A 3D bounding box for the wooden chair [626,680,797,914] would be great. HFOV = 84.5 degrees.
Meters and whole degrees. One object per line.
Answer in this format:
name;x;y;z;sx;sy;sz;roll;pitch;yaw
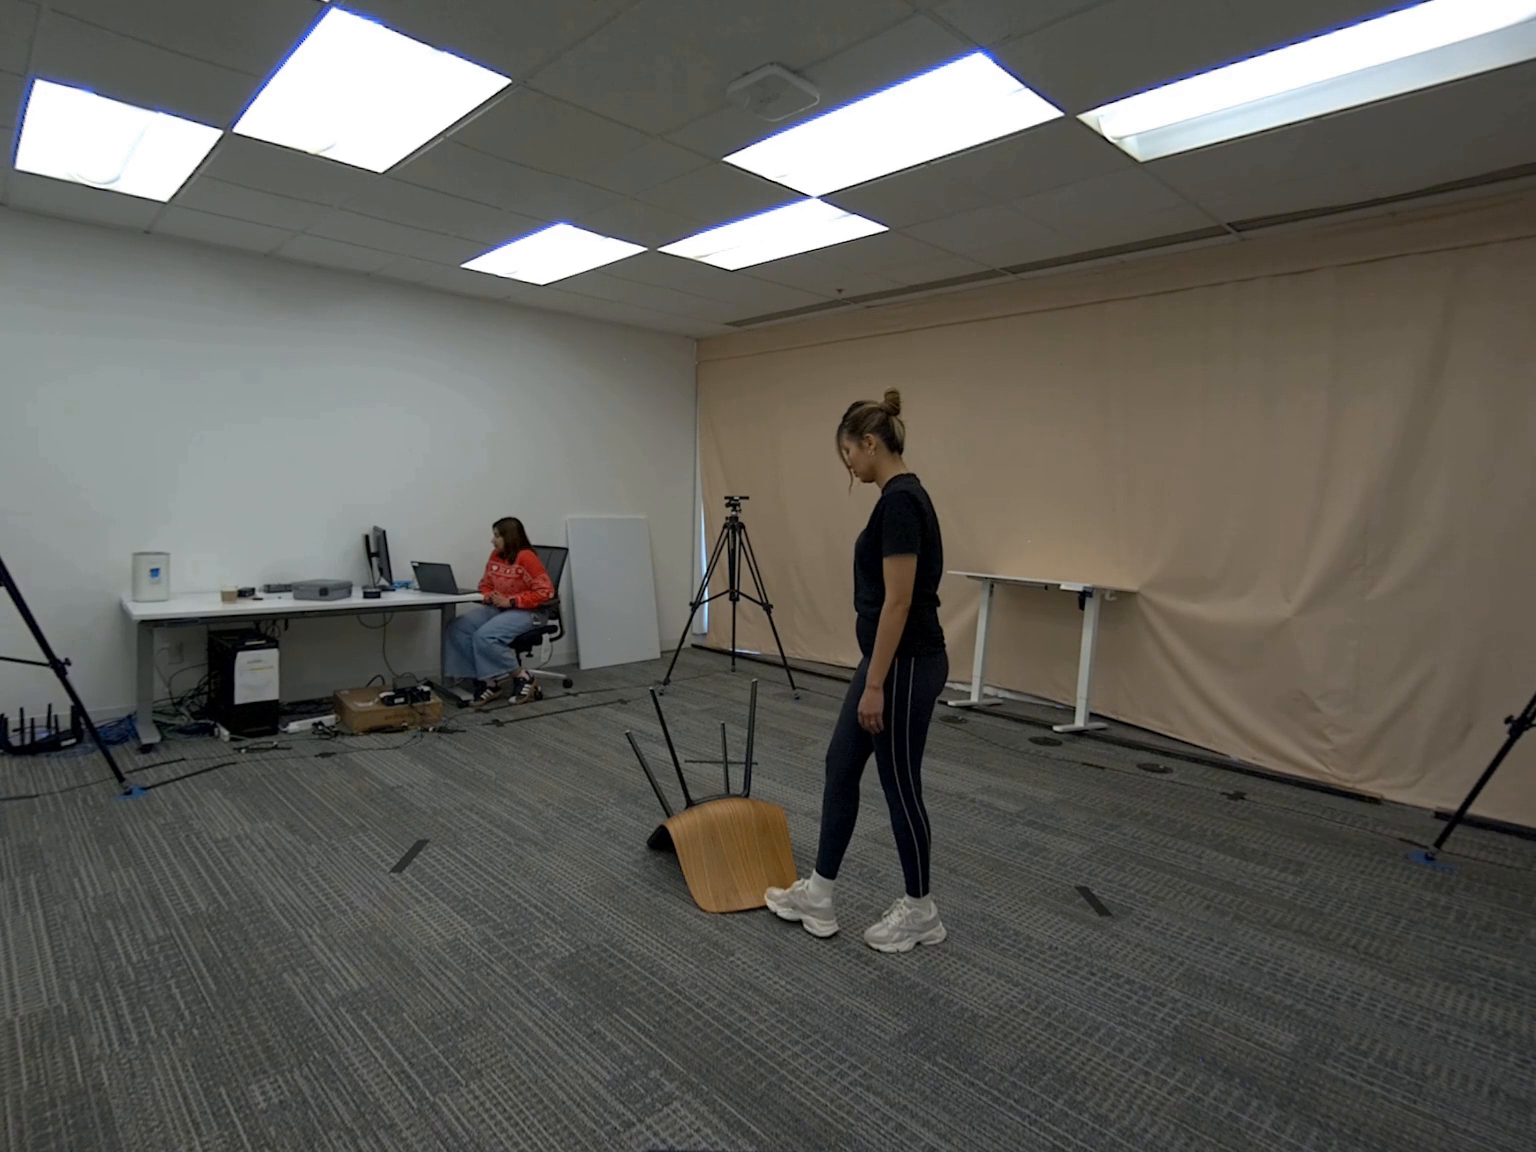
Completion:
wooden chair;-0.230;0.914;3.275;0.470;0.900;0.518;-1;-36;-24
